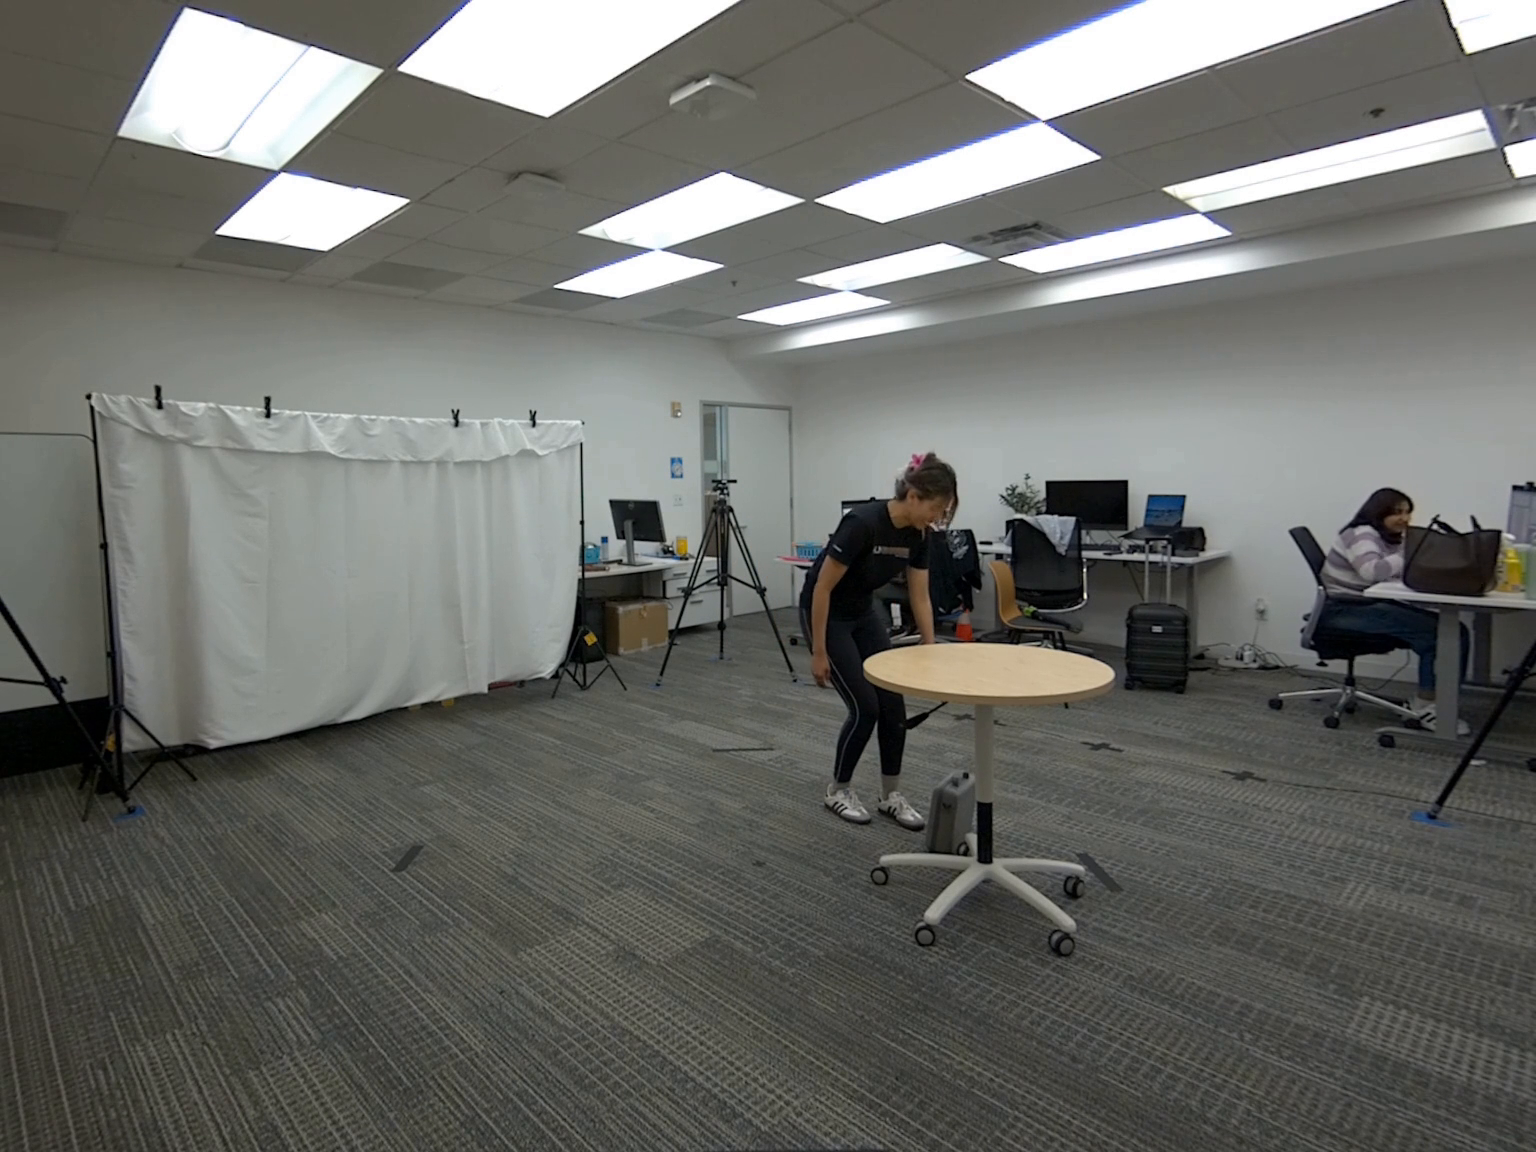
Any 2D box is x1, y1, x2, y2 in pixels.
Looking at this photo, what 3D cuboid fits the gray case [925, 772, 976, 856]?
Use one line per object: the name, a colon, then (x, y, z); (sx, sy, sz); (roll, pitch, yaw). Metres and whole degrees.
gray case: (0.690, 0.885, 3.239); (0.108, 0.259, 0.250); (11, 10, 37)
